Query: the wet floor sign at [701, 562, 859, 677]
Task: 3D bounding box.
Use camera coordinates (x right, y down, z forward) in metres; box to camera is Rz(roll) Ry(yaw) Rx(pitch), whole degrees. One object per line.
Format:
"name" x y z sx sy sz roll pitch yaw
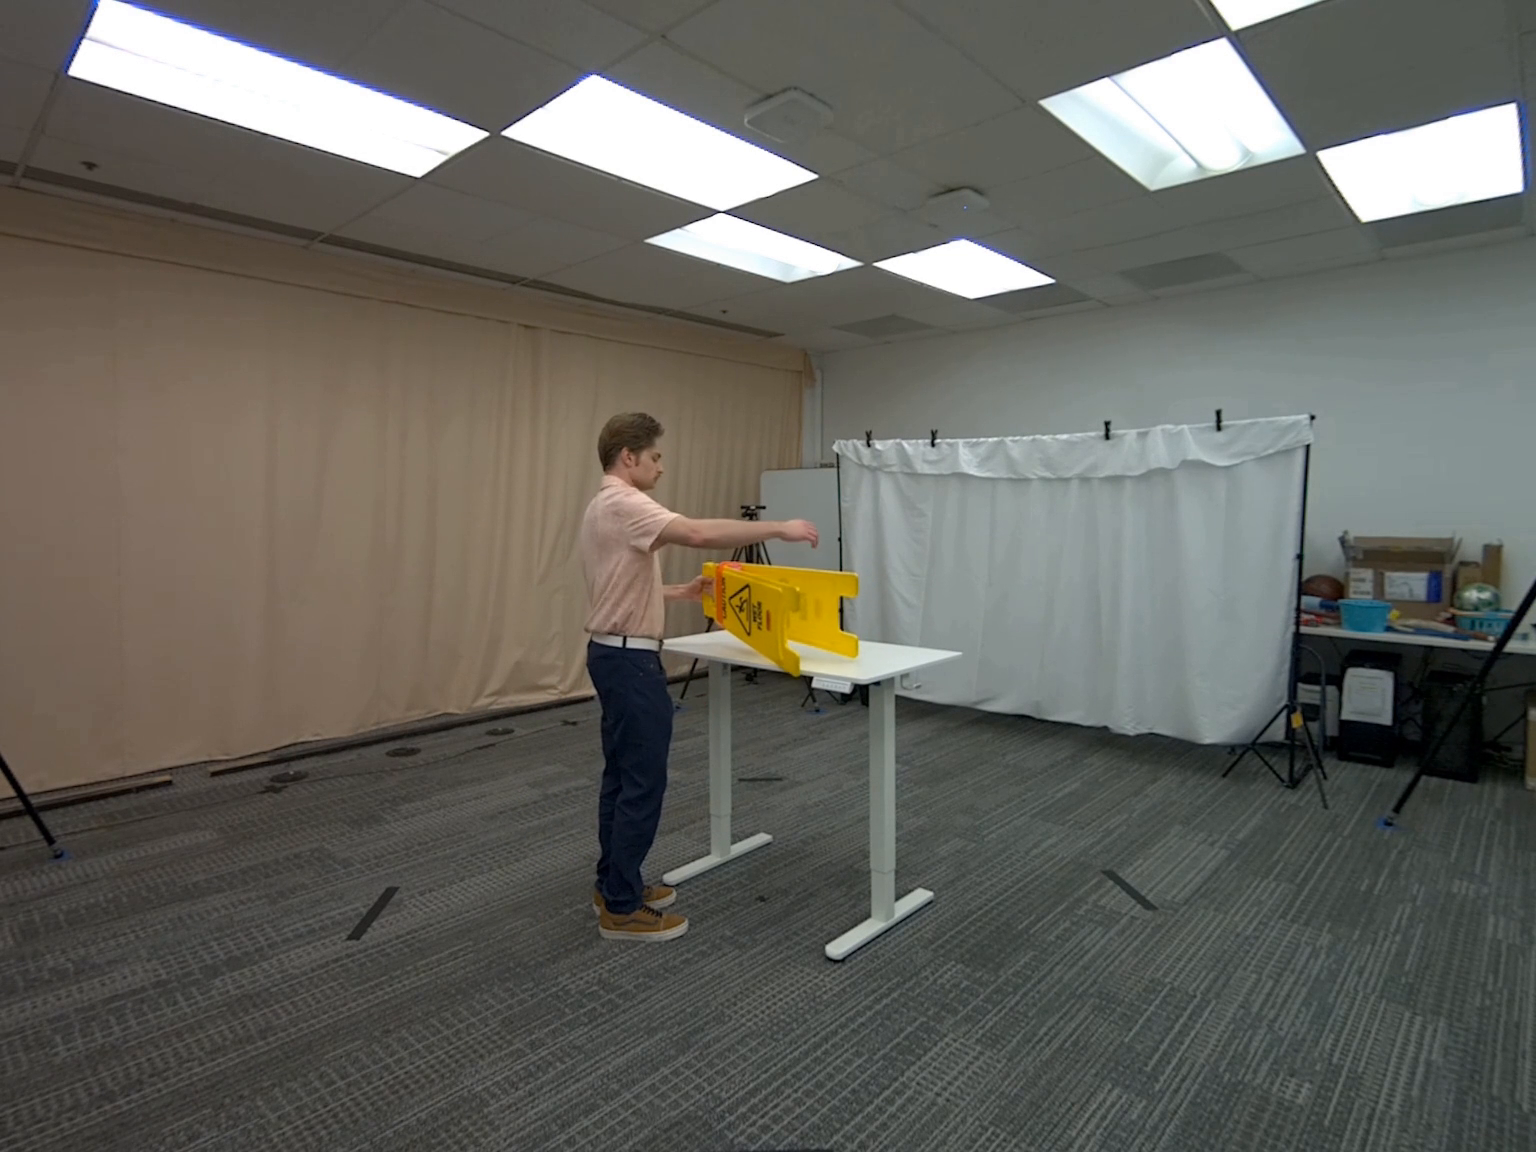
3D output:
"wet floor sign" -0.016 0.102 2.855 0.282 0.280 0.669 -10 15 -37
